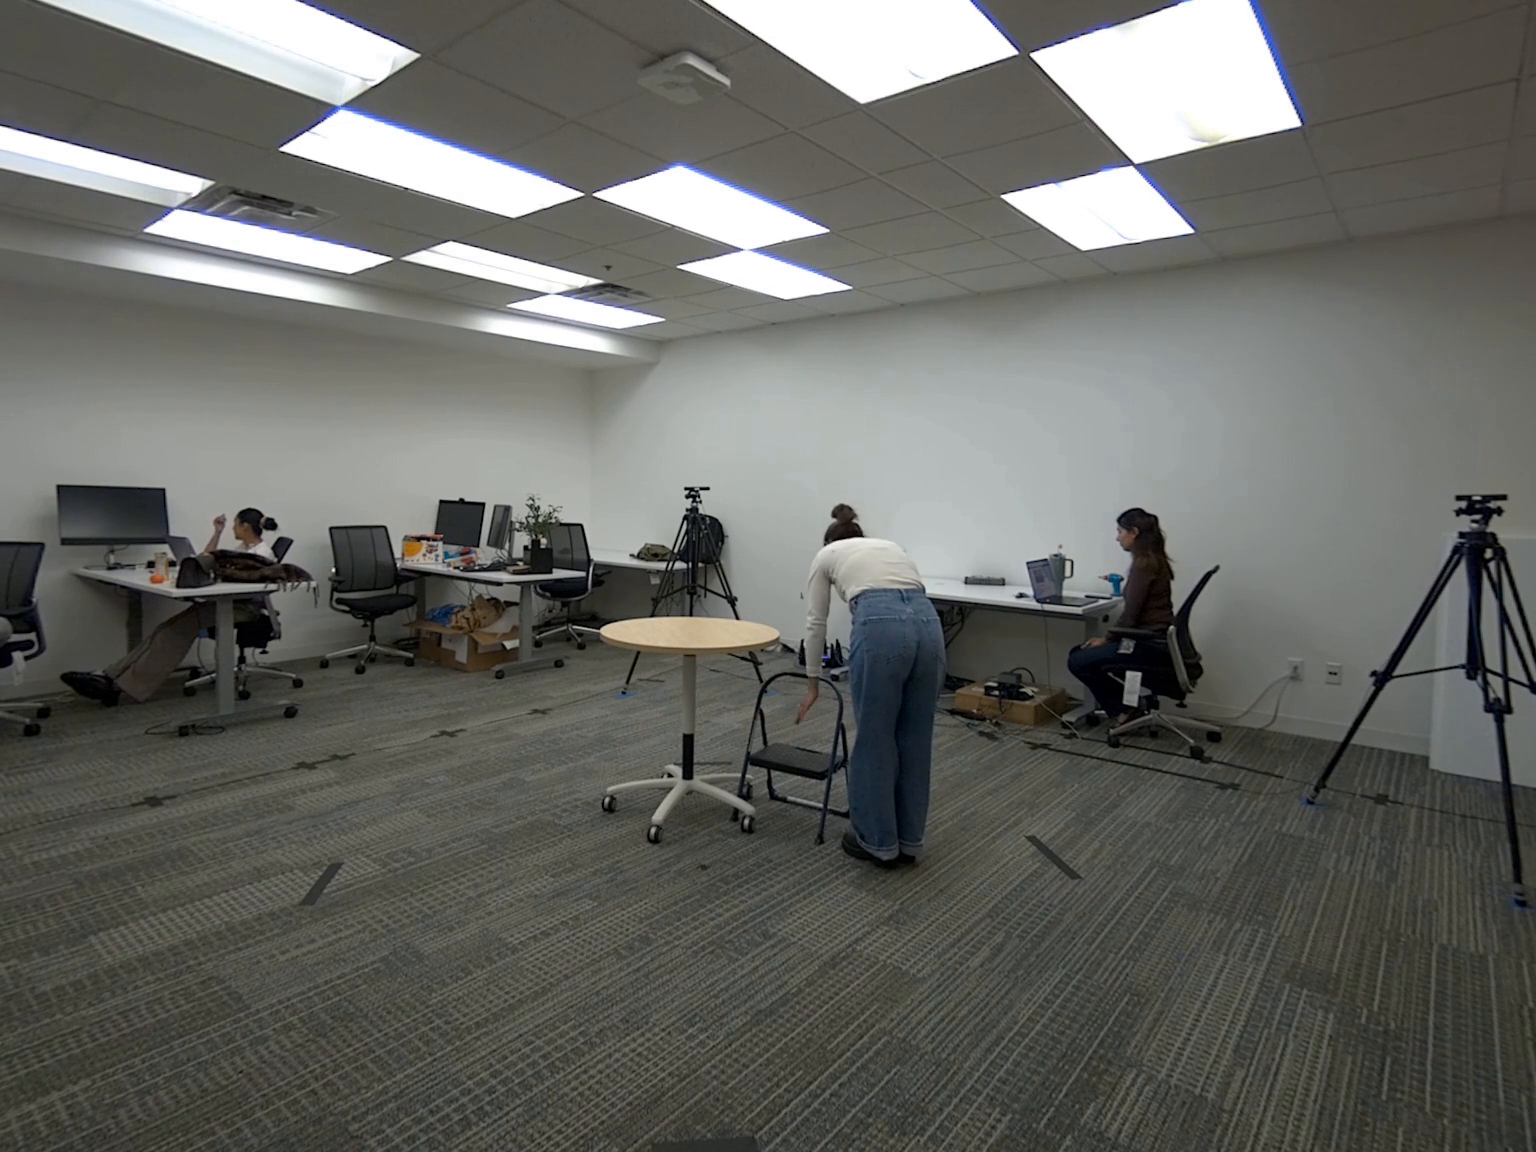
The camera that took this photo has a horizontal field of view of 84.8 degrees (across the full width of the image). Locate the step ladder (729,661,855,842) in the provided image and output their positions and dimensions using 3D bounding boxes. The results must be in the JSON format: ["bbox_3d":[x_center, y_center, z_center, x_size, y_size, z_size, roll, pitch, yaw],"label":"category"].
[{"bbox_3d":[0.113,0.717,3.575,0.443,0.604,0.340,3,4,31],"label":"step ladder"}]
